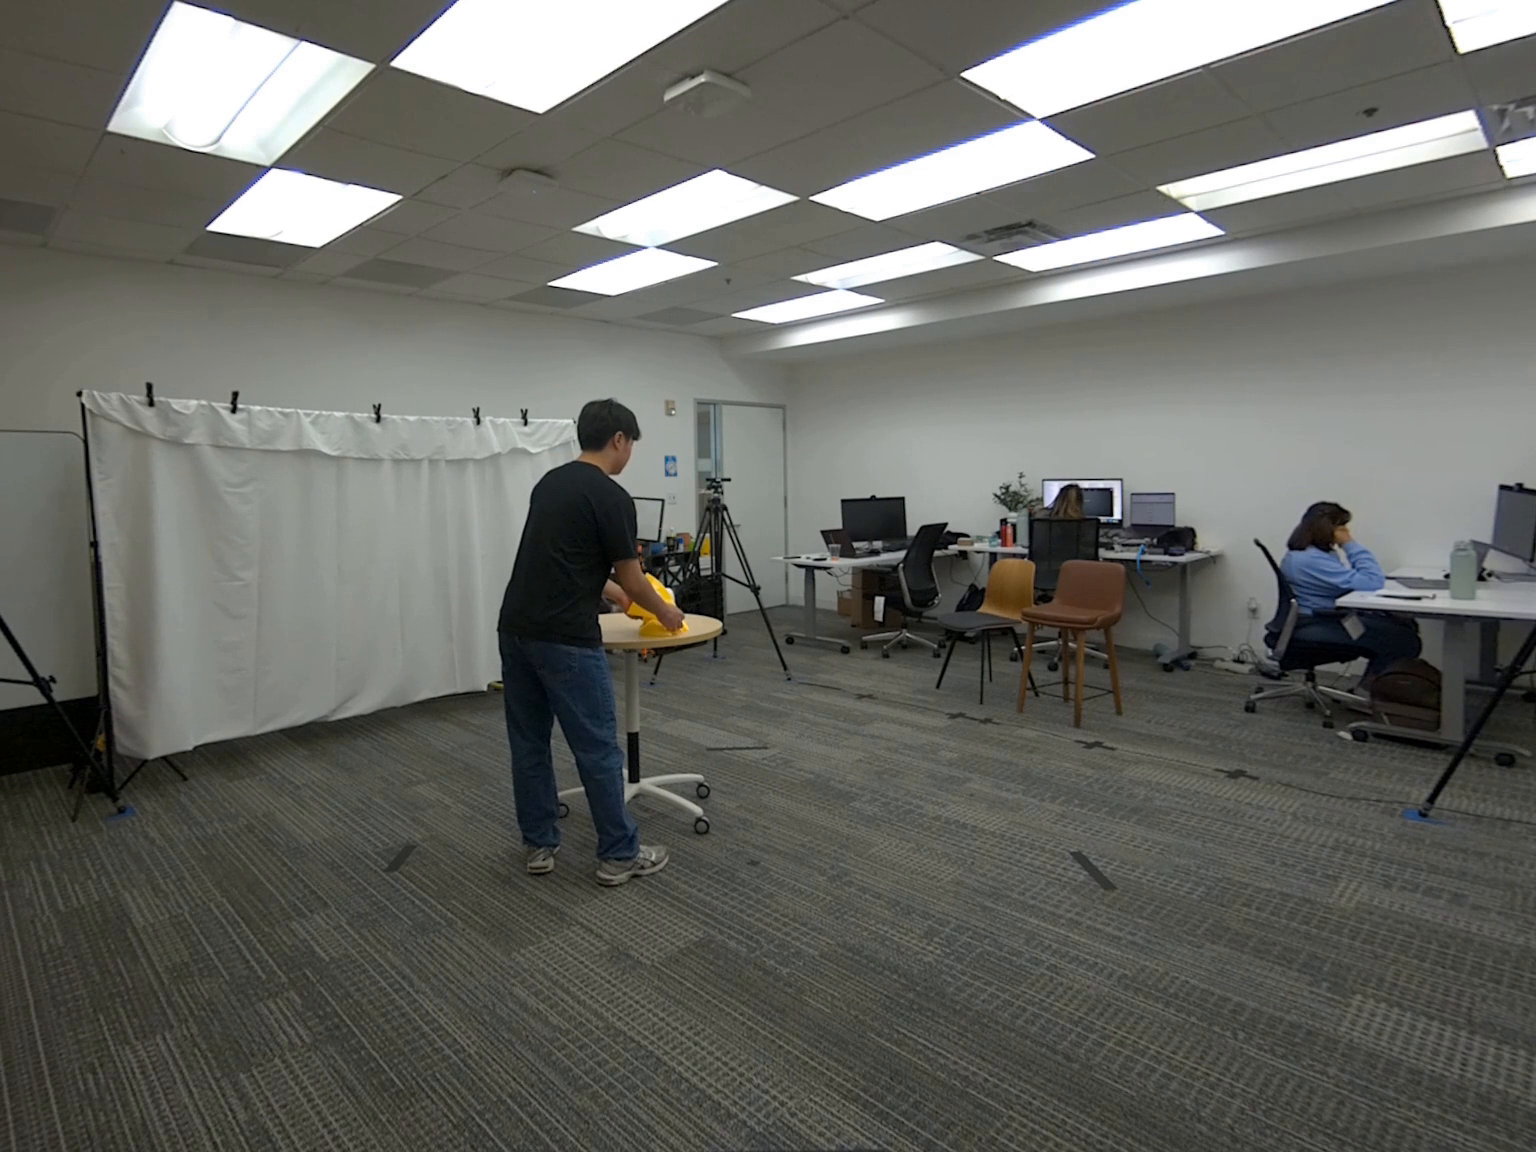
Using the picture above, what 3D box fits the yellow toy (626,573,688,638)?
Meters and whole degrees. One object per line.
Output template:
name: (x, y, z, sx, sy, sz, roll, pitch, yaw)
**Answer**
yellow toy: (-0.427, 0.104, 3.387, 0.198, 0.230, 0.200, 1, 4, 27)
